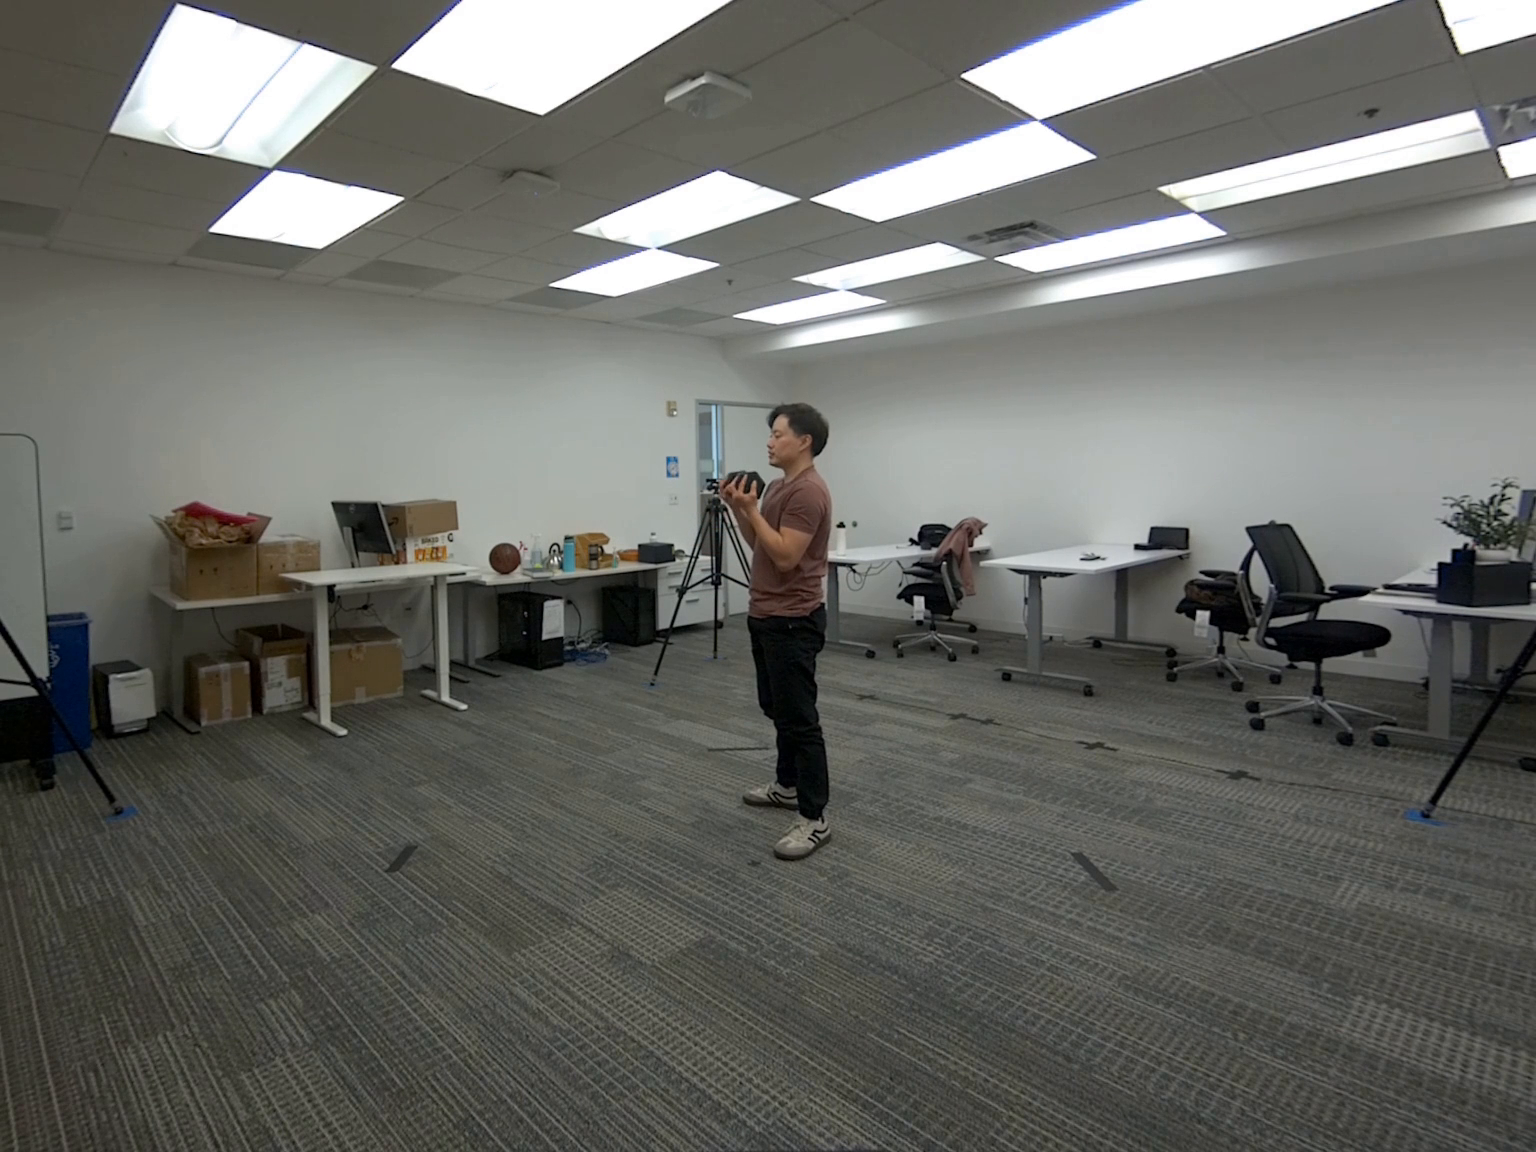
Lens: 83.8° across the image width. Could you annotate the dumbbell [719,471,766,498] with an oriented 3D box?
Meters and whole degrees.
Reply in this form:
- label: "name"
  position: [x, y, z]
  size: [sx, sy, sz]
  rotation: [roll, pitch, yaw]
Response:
- label: "dumbbell"
  position: [-0.090, -0.356, 3.344]
  size: [0.108, 0.121, 0.298]
  rotation: [-43, 13, -6]
